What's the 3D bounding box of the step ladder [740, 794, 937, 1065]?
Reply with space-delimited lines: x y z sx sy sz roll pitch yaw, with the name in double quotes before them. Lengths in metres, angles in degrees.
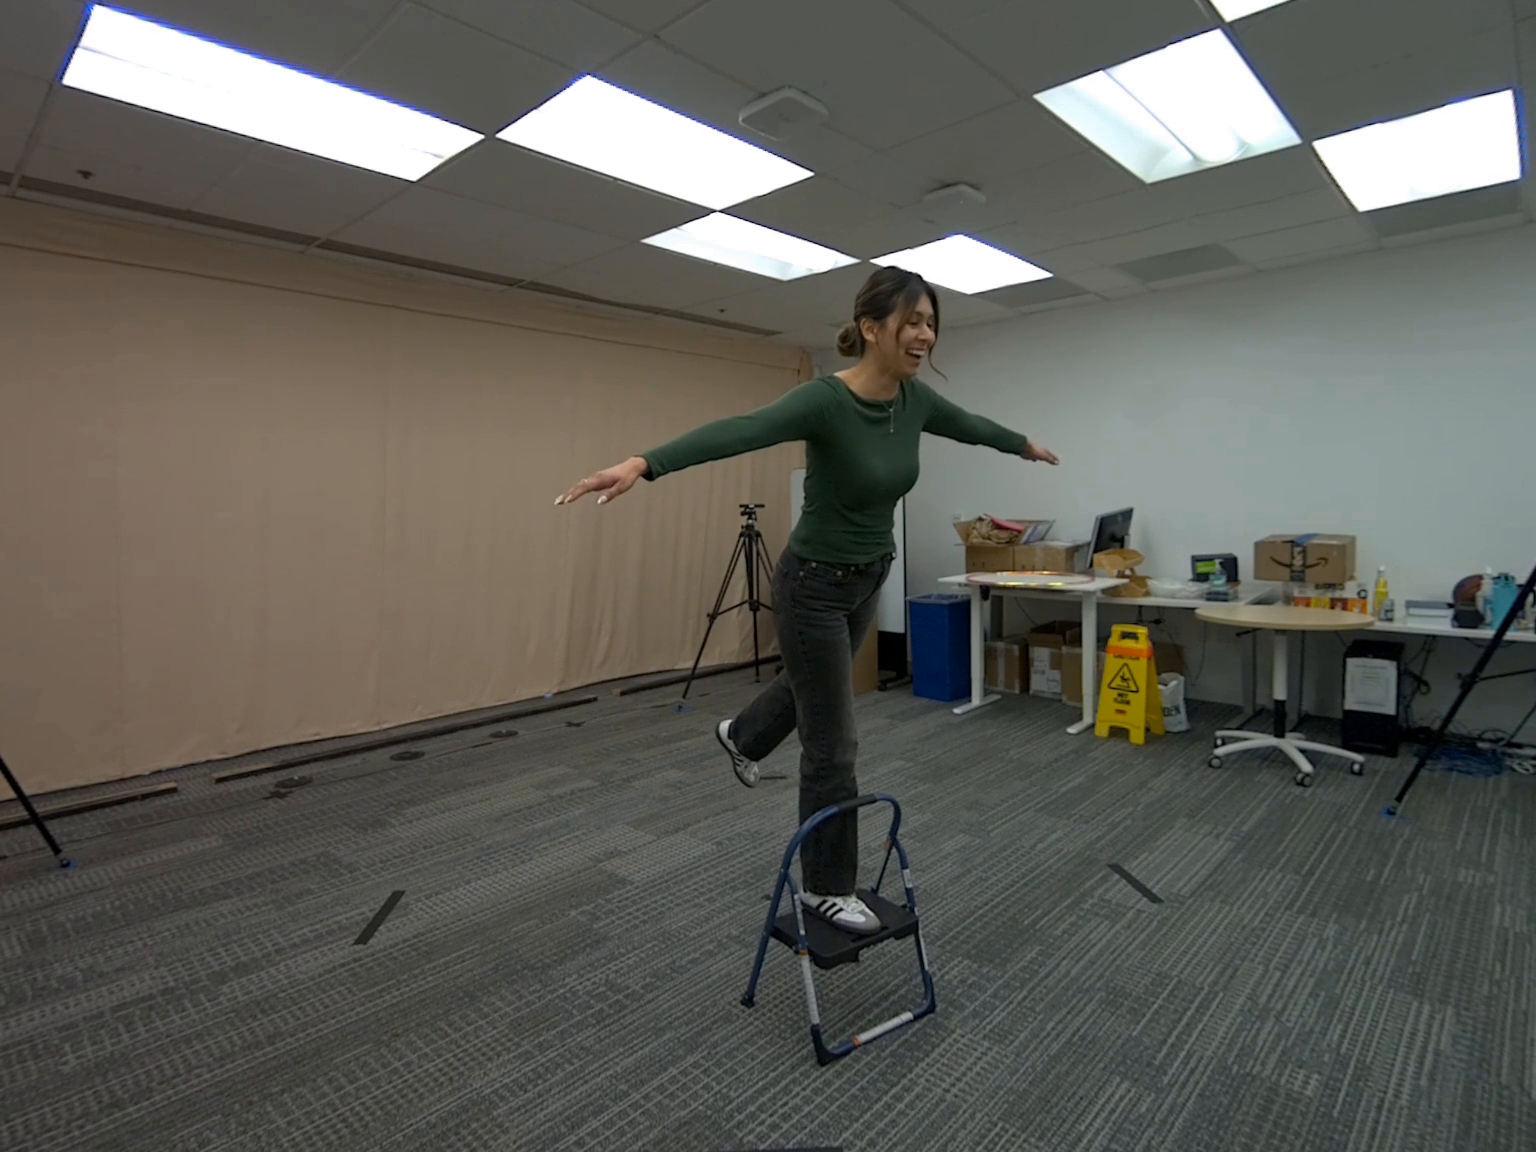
"step ladder" 0.196 0.893 2.316 0.418 0.604 0.360 -4 5 -36
